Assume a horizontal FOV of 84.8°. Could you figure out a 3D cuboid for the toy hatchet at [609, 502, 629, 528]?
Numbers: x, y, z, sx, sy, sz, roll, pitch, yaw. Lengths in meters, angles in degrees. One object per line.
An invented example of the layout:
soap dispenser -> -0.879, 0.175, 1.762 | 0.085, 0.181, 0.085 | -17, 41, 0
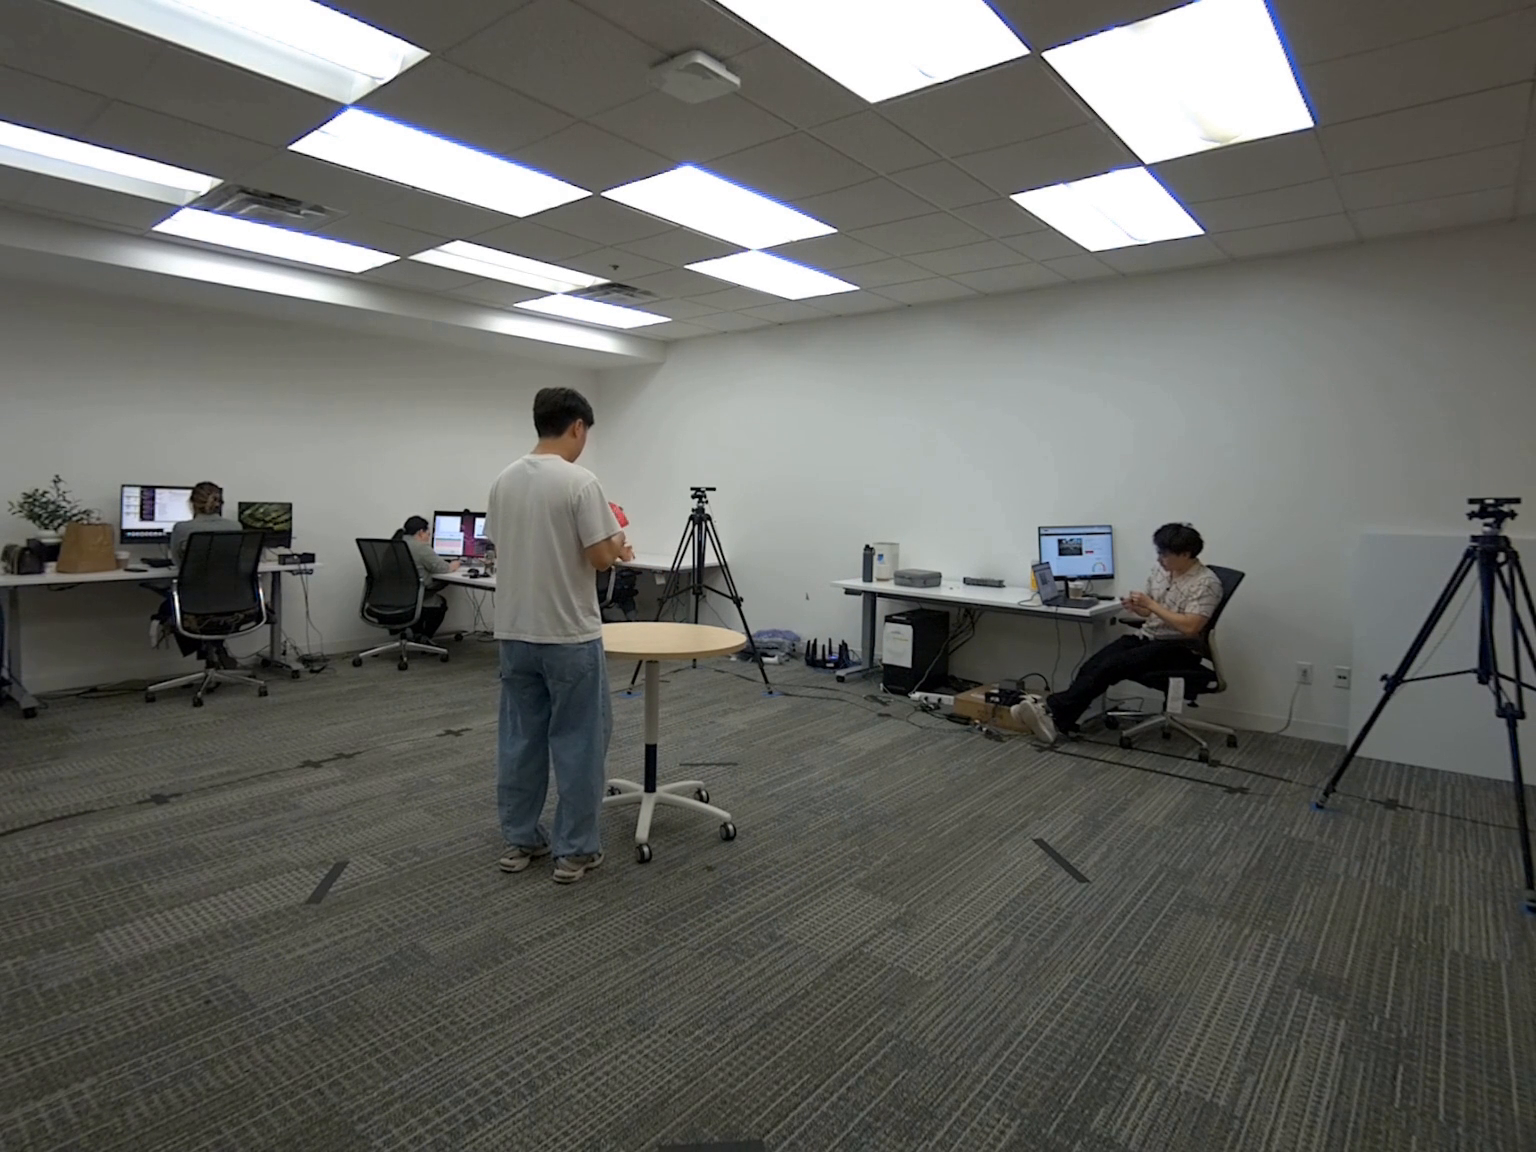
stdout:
toy hatchet -> -0.655, -0.150, 3.336 | 0.130, 0.272, 0.029 | 32, -30, -5
